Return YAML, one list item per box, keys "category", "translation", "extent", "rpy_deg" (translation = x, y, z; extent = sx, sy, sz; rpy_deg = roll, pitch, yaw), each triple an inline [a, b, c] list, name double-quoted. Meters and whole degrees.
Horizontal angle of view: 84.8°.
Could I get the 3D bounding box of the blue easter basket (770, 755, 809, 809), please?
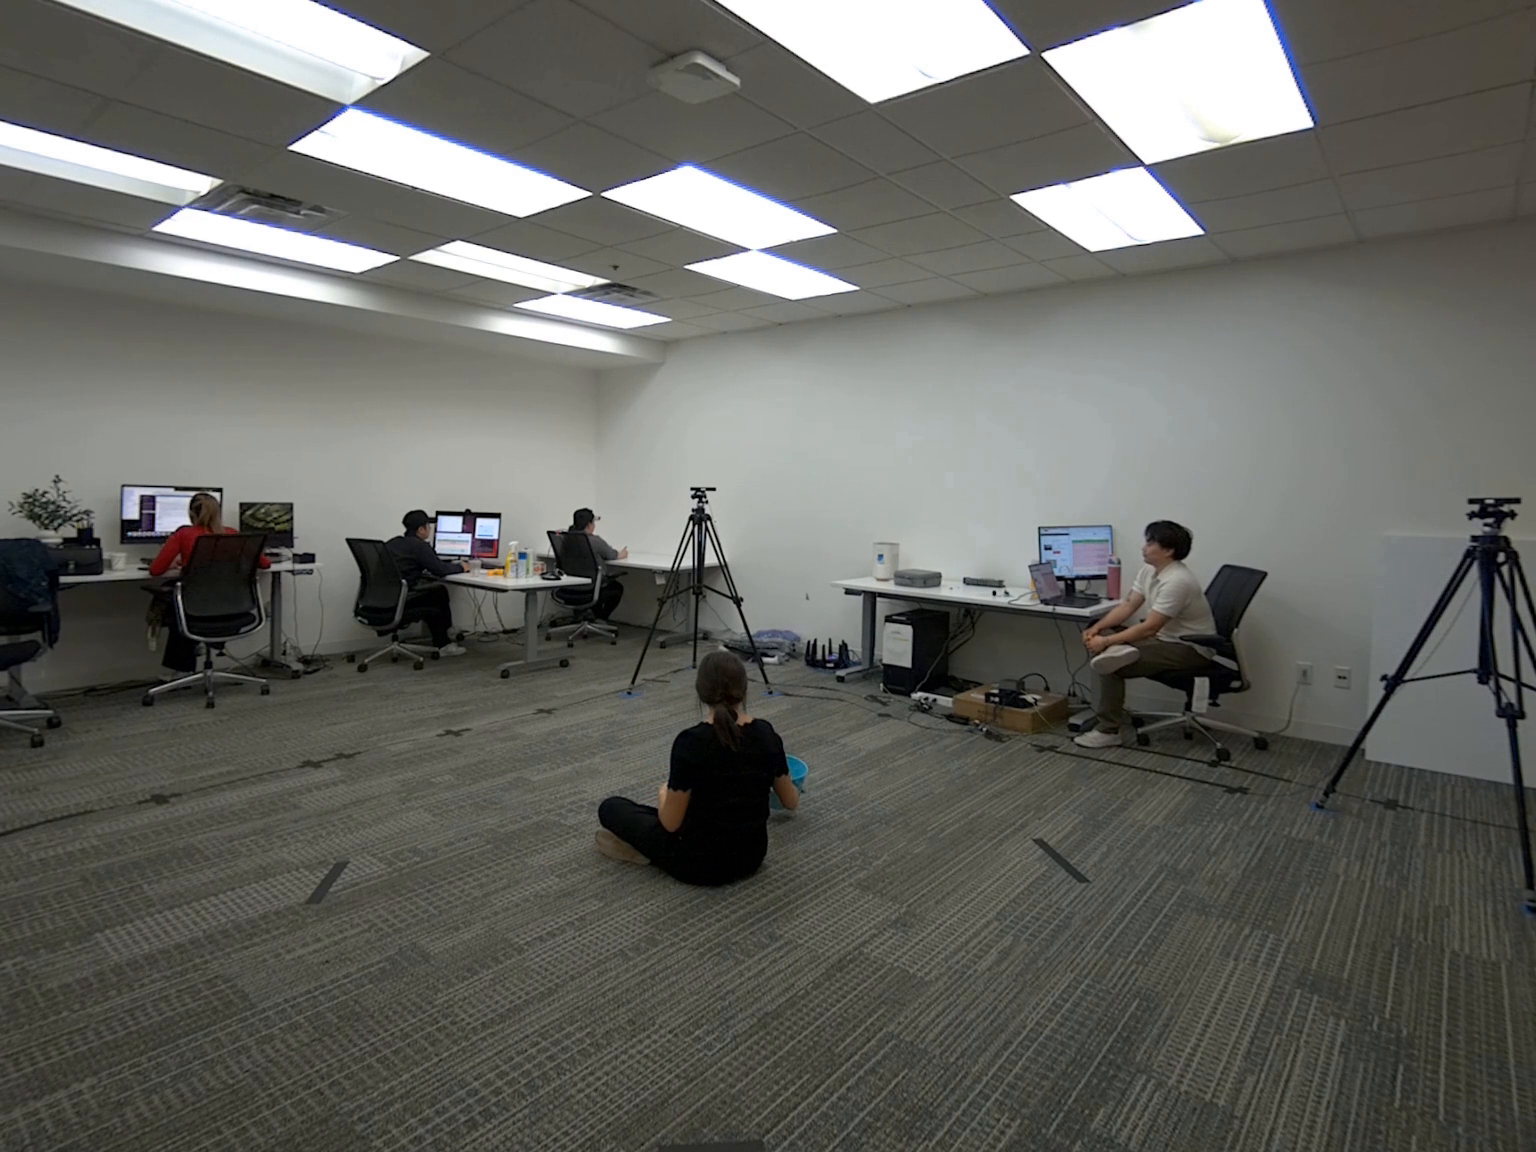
- category: "blue easter basket"
  translation: [0.047, 0.865, 3.608]
  extent: [0.243, 0.154, 0.247]
  rpy_deg: [3, 15, -3]
